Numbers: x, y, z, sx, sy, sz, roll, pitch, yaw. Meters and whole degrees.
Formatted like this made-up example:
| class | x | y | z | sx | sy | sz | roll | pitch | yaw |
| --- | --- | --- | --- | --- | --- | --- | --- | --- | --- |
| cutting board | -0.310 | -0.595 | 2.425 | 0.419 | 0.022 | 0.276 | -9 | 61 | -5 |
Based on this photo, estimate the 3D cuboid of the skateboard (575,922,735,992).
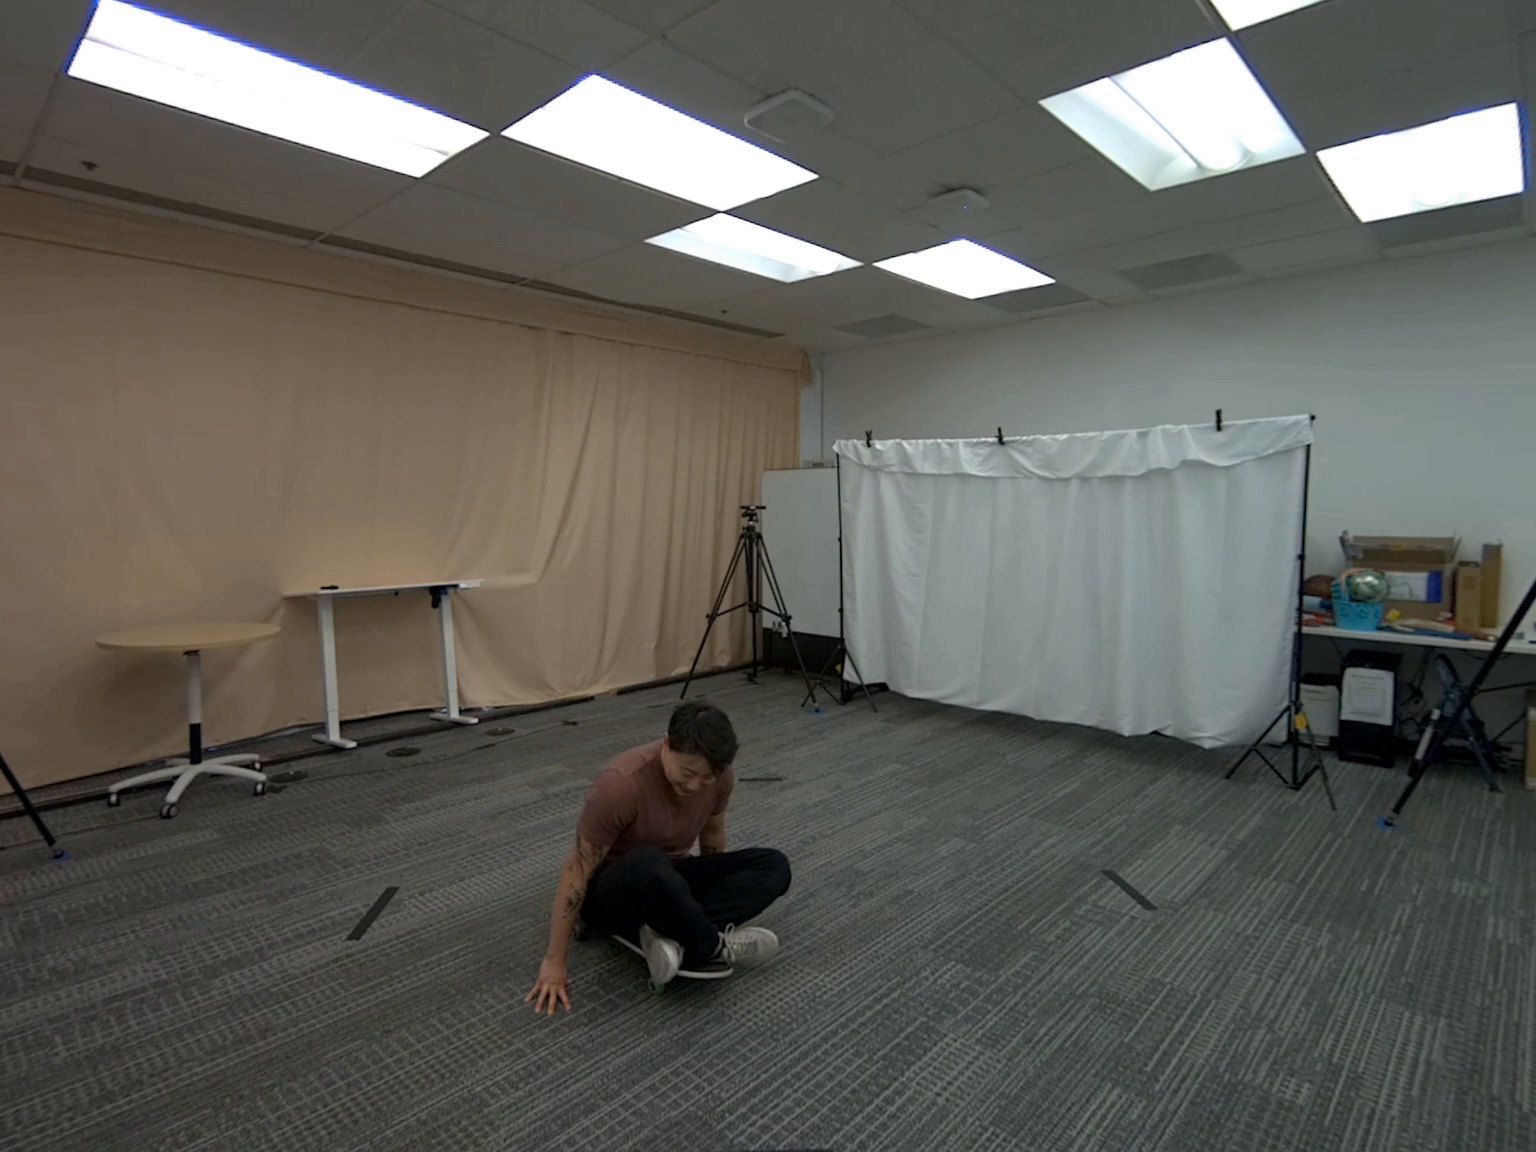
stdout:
| class | x | y | z | sx | sy | sz | roll | pitch | yaw |
| --- | --- | --- | --- | --- | --- | --- | --- | --- | --- |
| skateboard | -0.425 | 1.123 | 2.595 | 0.187 | 0.110 | 0.811 | 12 | -6 | -39 |
